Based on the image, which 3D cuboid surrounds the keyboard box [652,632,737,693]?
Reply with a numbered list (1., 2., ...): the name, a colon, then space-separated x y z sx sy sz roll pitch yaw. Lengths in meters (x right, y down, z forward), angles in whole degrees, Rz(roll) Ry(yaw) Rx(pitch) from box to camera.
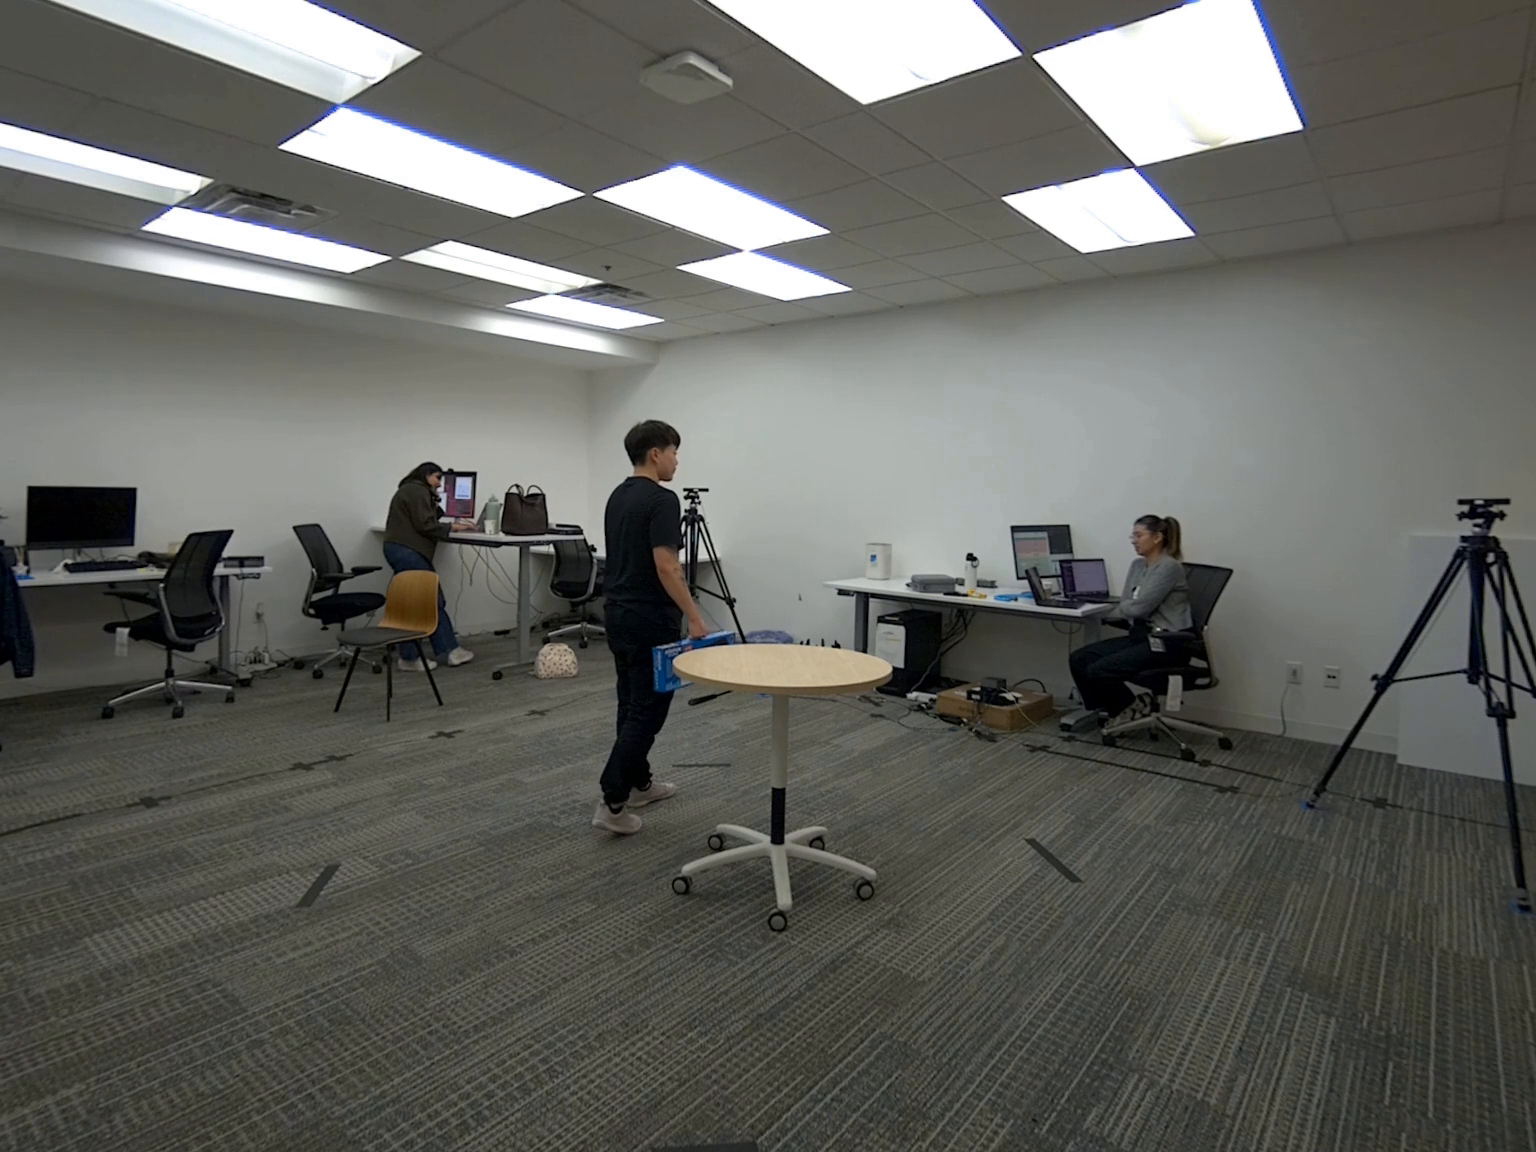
1. keyboard box: -0.305 0.342 3.457 0.061 0.175 0.425 -1 5 40
